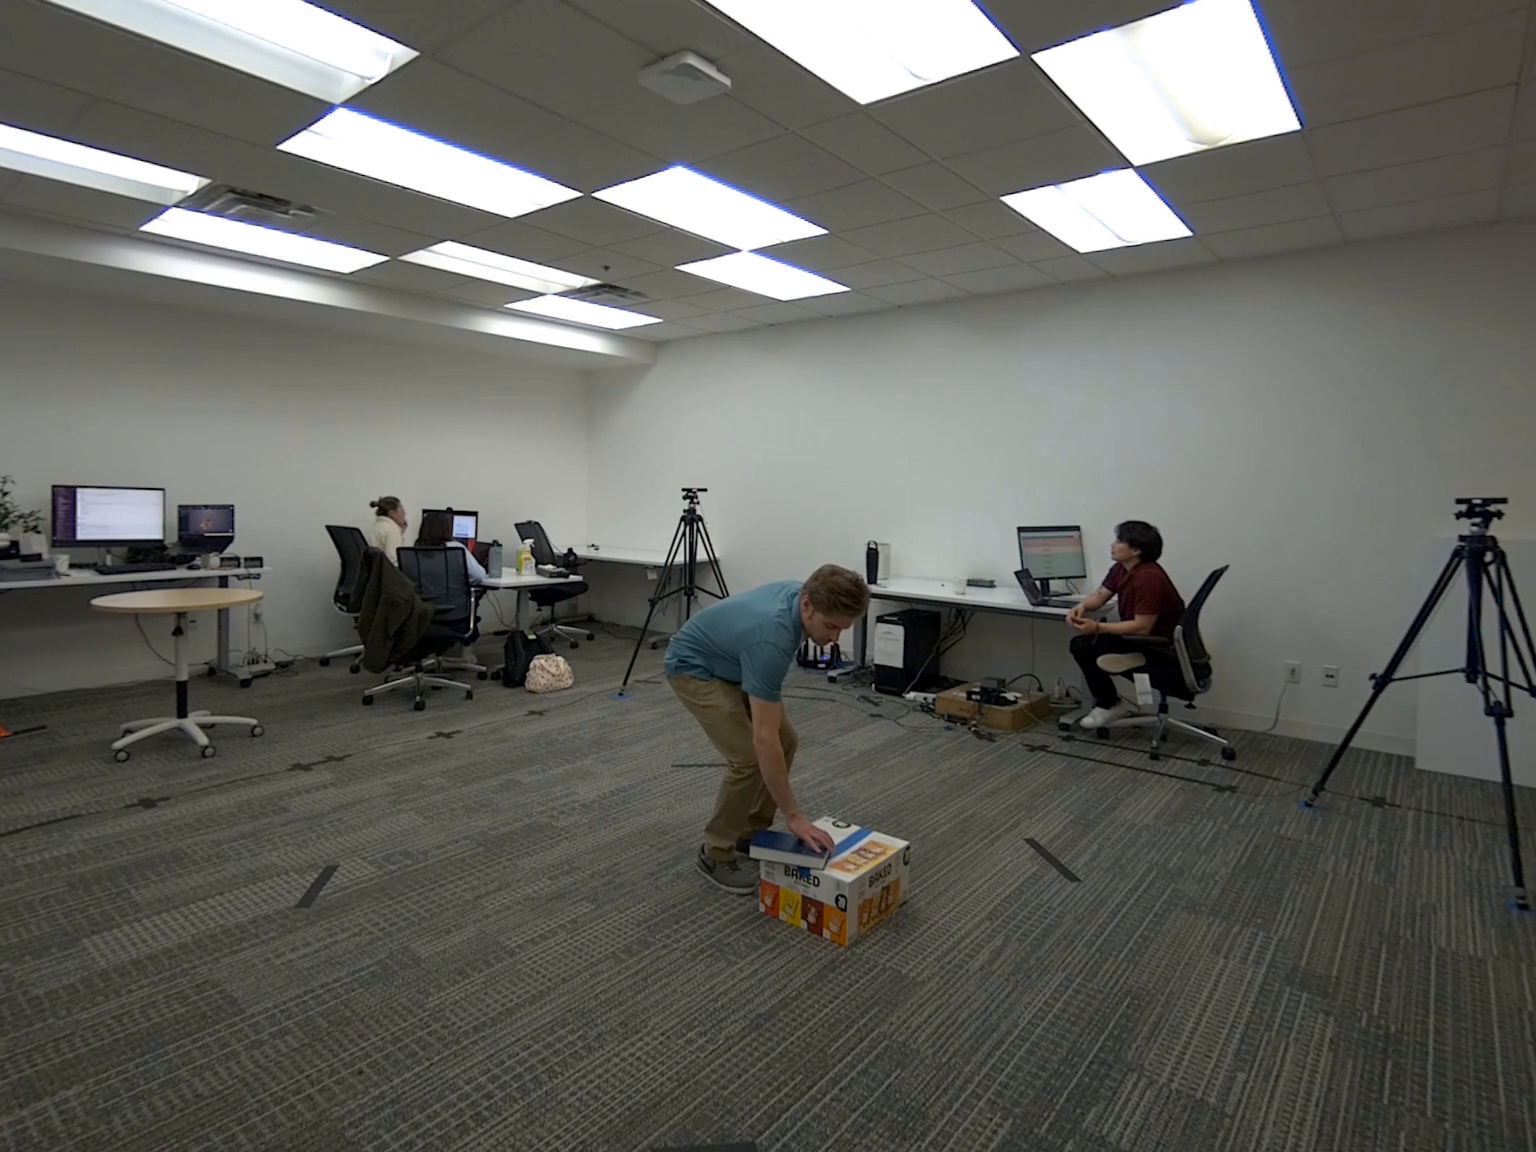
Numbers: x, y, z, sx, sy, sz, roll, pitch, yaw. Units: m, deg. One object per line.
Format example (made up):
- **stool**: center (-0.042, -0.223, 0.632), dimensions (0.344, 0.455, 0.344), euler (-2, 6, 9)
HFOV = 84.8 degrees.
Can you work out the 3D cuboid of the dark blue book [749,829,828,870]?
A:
- **dark blue book**: center (0.081, 0.892, 2.773), dimensions (0.249, 0.045, 0.161), euler (6, 2, 15)
